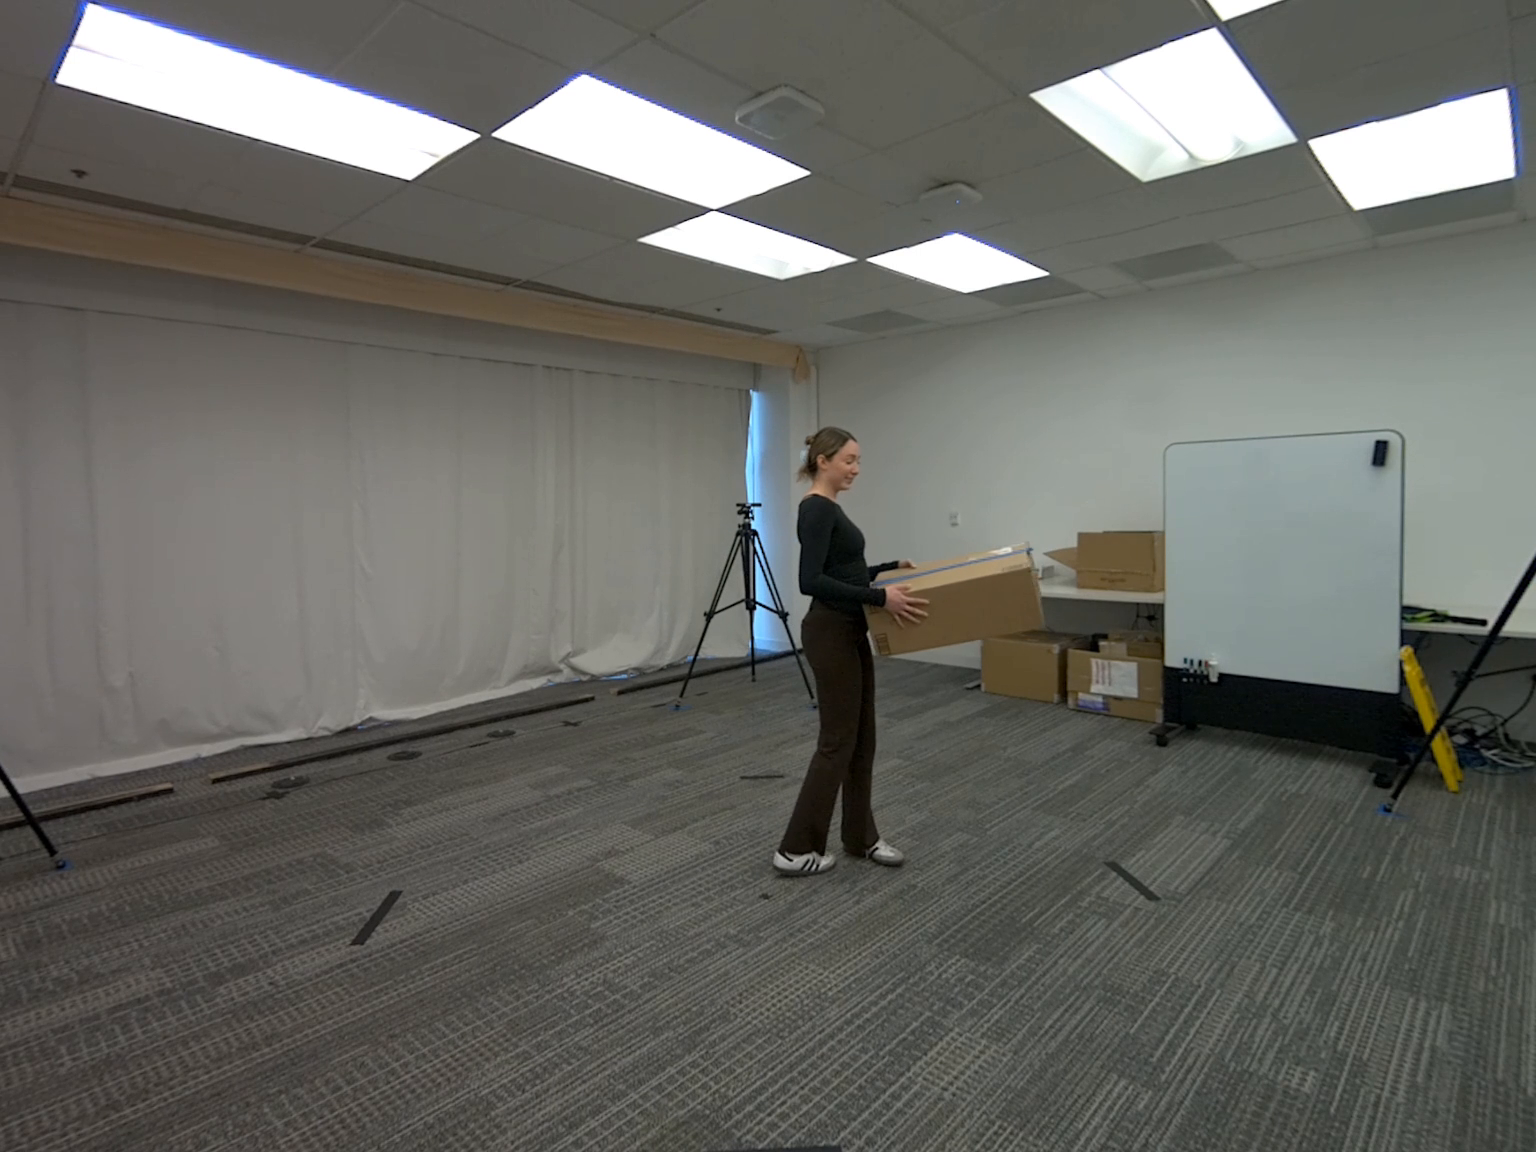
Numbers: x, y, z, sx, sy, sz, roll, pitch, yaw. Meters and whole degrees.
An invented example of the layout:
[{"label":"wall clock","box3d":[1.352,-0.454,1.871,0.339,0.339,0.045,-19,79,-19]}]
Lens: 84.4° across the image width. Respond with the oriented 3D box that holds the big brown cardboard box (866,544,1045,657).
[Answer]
[{"label":"big brown cardboard box","box3d":[0.670,0.076,3.024,0.599,0.231,0.413,-14,9,20]}]
